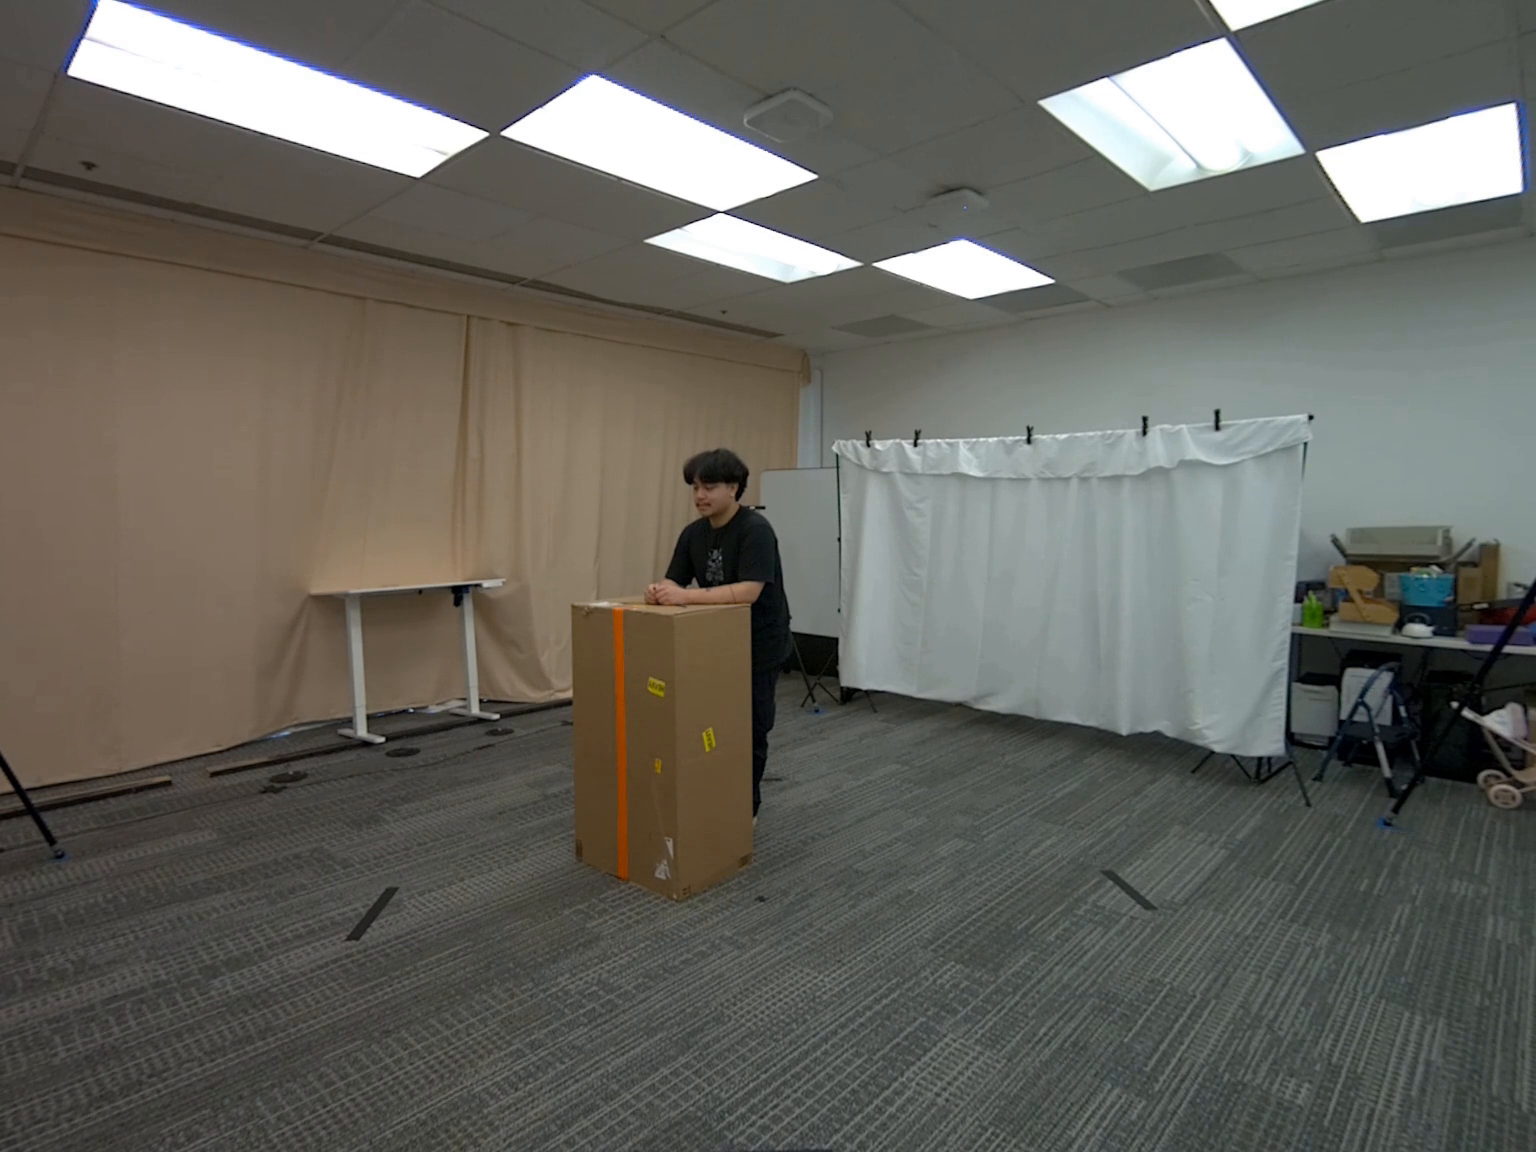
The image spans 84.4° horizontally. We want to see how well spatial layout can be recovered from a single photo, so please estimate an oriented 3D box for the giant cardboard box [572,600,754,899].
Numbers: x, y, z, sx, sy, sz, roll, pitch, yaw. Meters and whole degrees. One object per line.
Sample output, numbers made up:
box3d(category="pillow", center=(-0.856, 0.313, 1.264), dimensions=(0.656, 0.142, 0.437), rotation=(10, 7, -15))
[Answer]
box3d(category="giant cardboard box", center=(-0.420, 0.613, 3.281), dimensions=(0.603, 1.025, 0.433), rotation=(2, 4, 41))
